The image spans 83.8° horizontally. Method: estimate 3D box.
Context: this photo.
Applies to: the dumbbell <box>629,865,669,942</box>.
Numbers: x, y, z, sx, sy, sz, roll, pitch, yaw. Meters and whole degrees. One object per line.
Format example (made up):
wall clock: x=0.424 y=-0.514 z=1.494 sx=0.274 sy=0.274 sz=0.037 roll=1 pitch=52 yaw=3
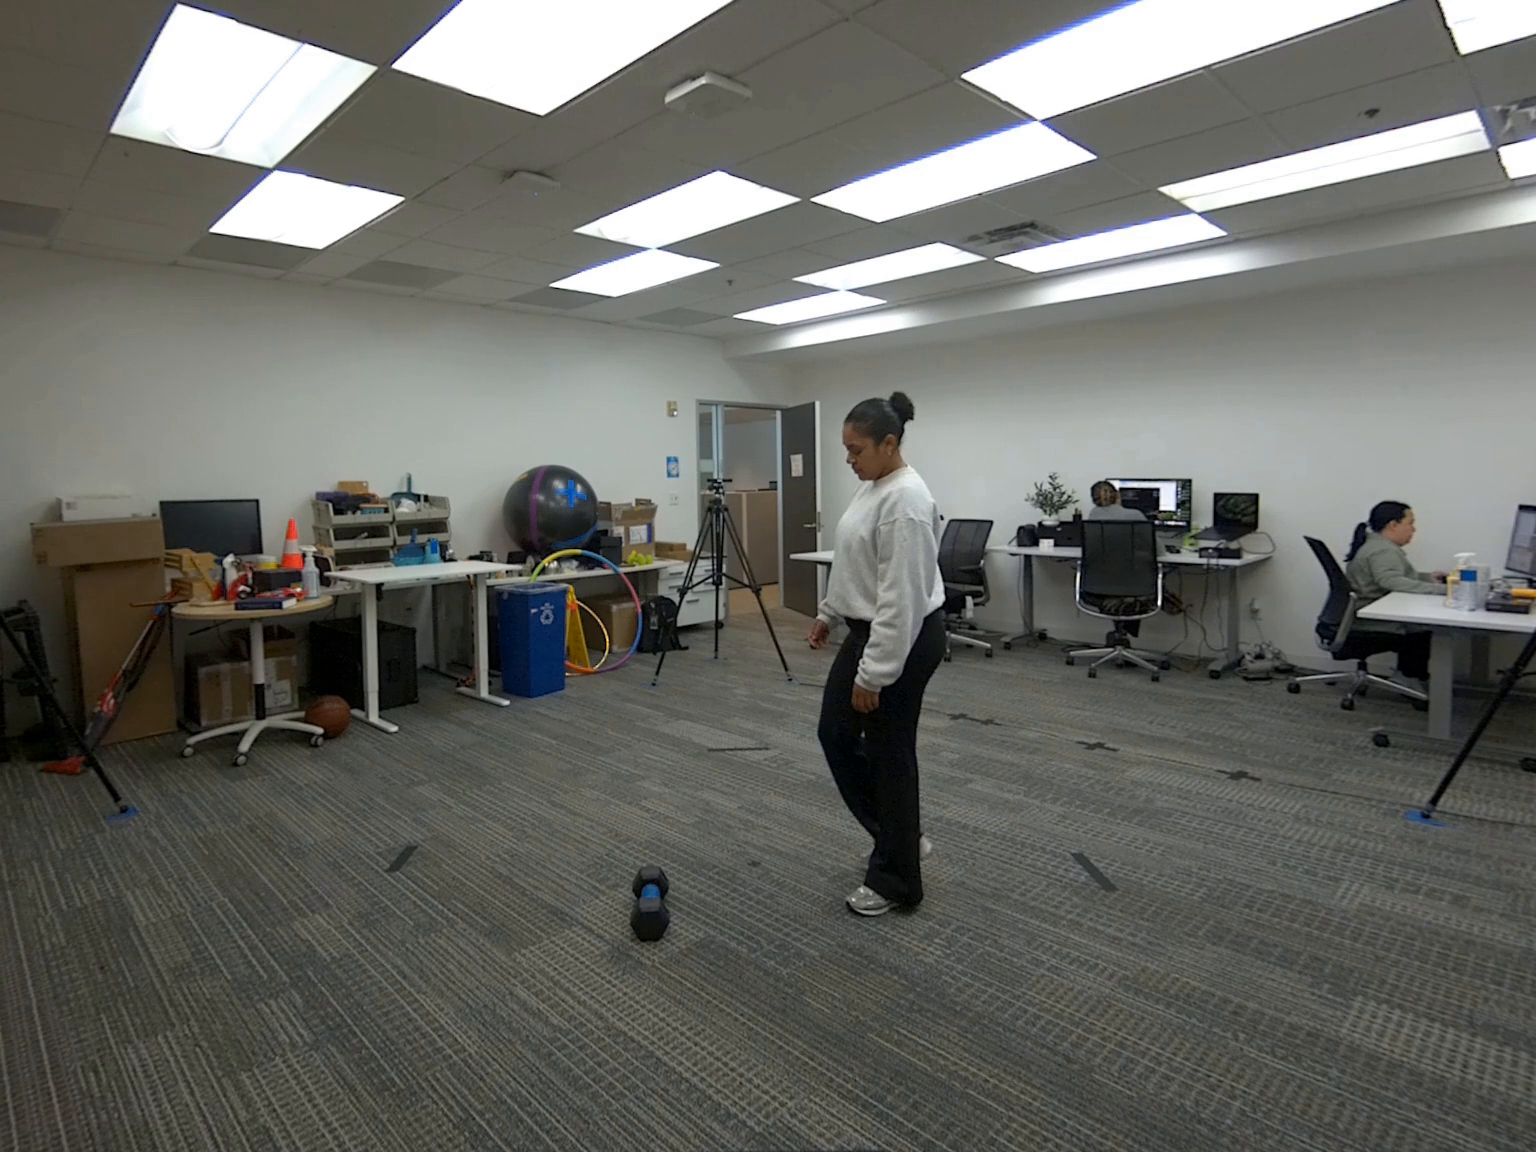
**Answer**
dumbbell: x=-0.368 y=1.042 z=2.727 sx=0.108 sy=0.122 sz=0.296 roll=-31 pitch=9 yaw=-3
